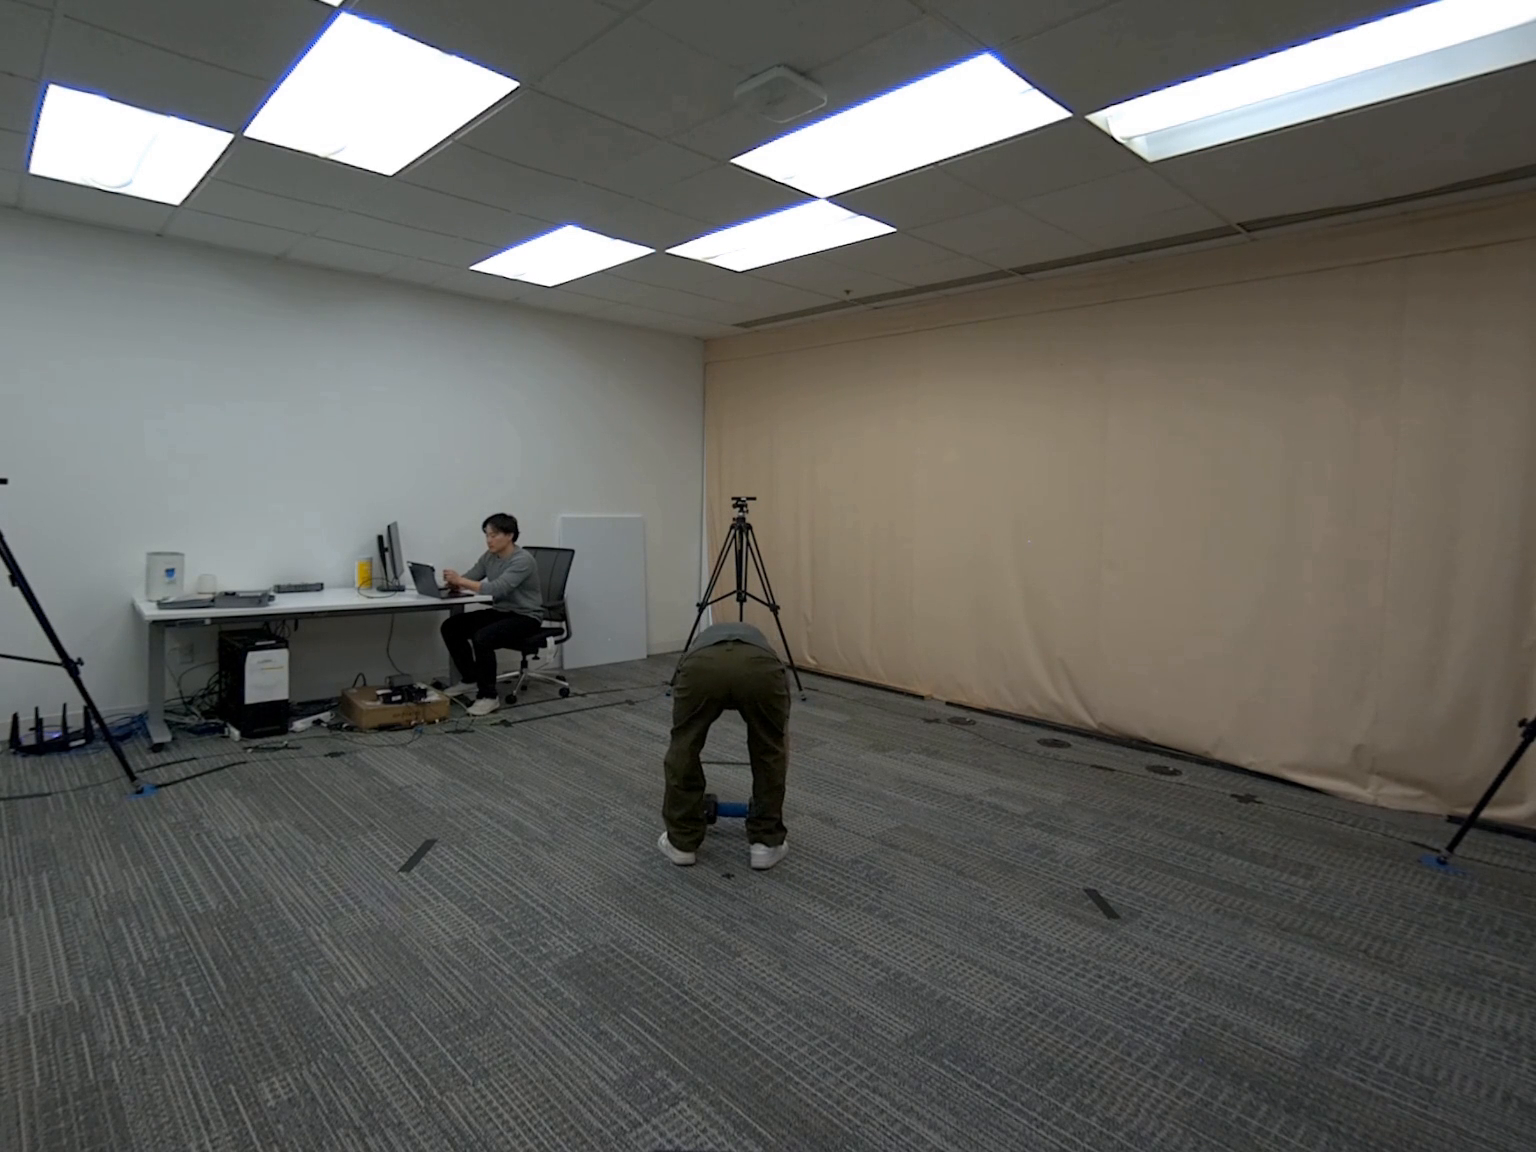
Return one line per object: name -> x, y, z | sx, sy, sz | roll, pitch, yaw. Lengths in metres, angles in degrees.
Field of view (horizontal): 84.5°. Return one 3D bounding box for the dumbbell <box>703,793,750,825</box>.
dumbbell -> -0.153, 0.969, 3.506 | 0.294, 0.120, 0.111 | 2, 41, 3
